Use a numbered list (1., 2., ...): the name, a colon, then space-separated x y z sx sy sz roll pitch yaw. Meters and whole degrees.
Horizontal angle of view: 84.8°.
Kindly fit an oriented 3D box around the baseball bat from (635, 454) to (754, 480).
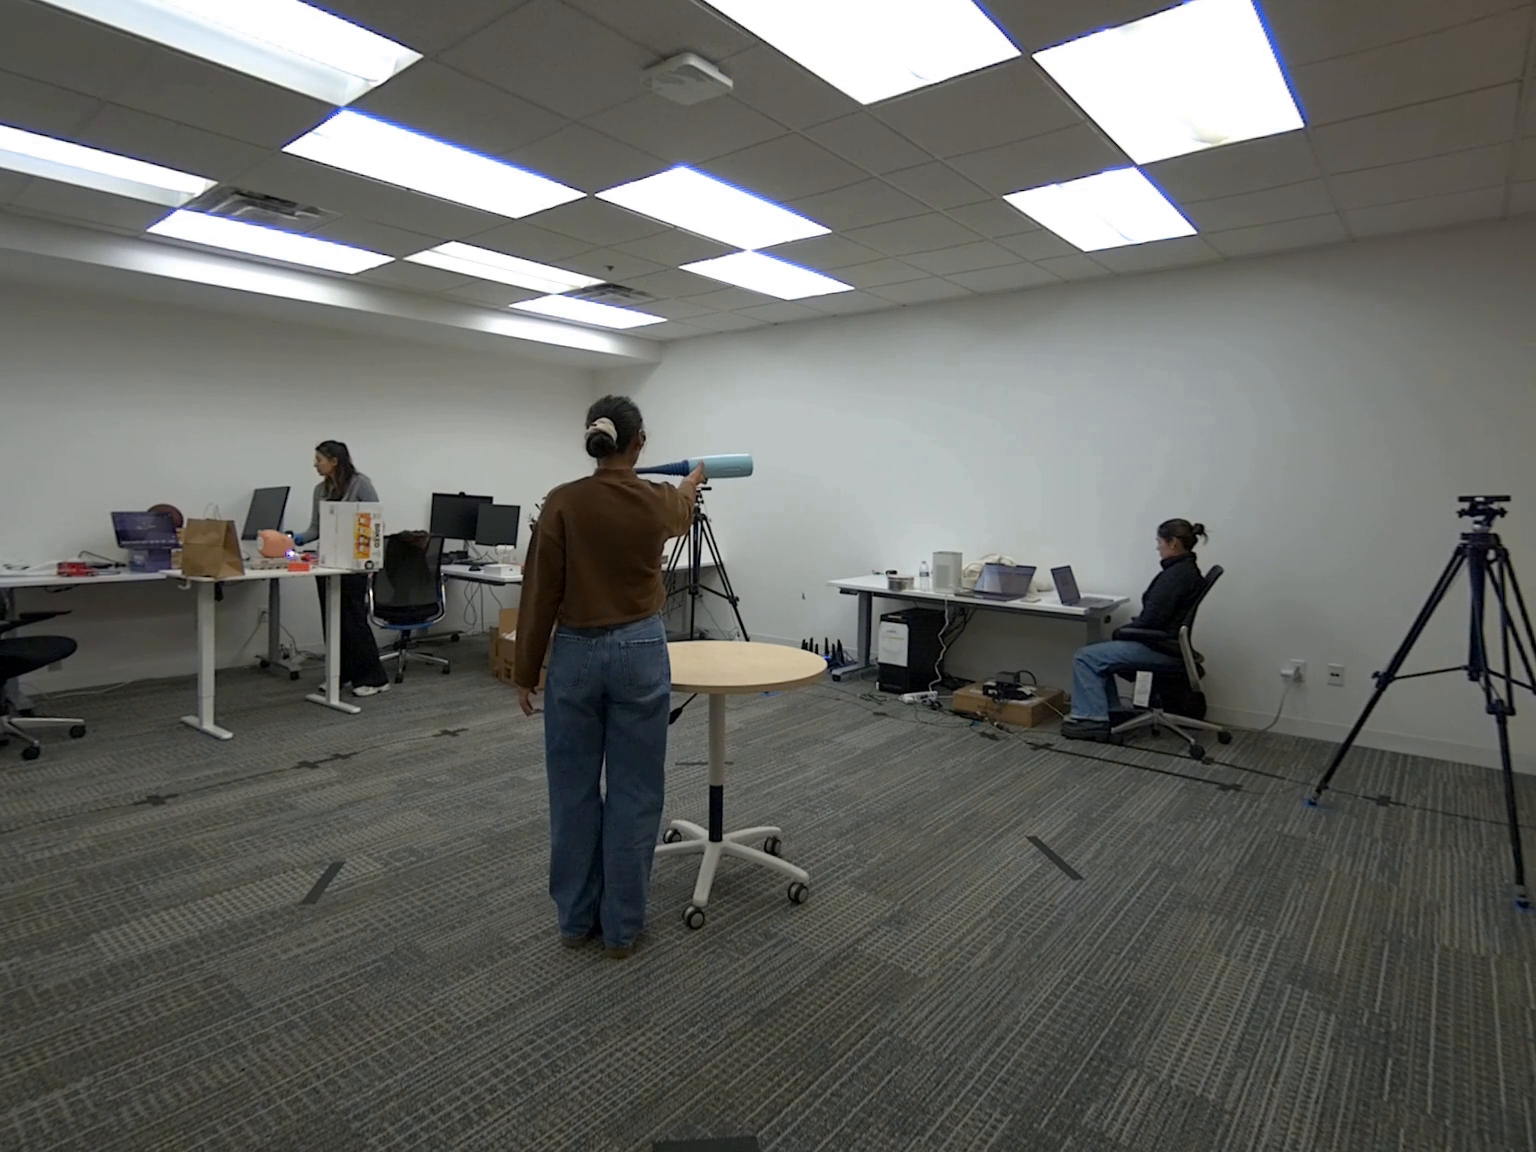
1. baseball bat: -0.335 -0.398 3.166 0.536 0.088 0.090 -6 6 -13
